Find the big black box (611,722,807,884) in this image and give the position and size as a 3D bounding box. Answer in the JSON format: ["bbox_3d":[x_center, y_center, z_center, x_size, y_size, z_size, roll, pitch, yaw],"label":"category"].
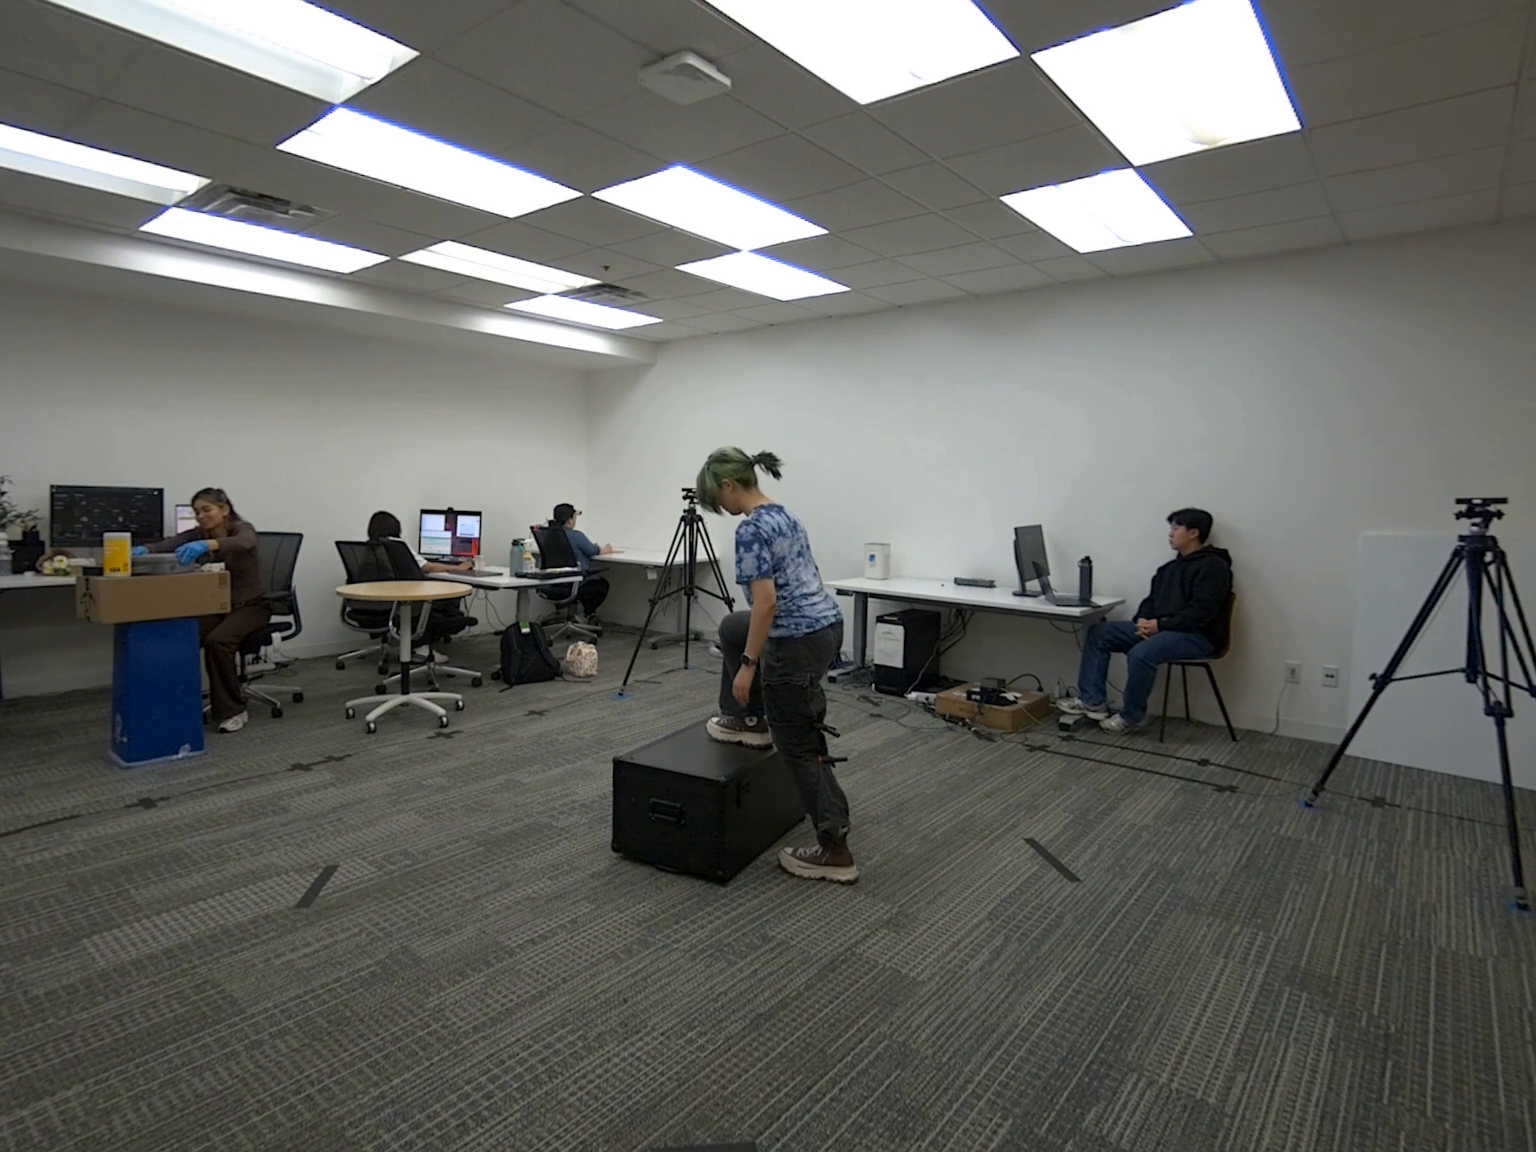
[{"bbox_3d":[-0.196,0.851,3.432,0.535,0.395,0.842,3,6,26],"label":"big black box"}]
